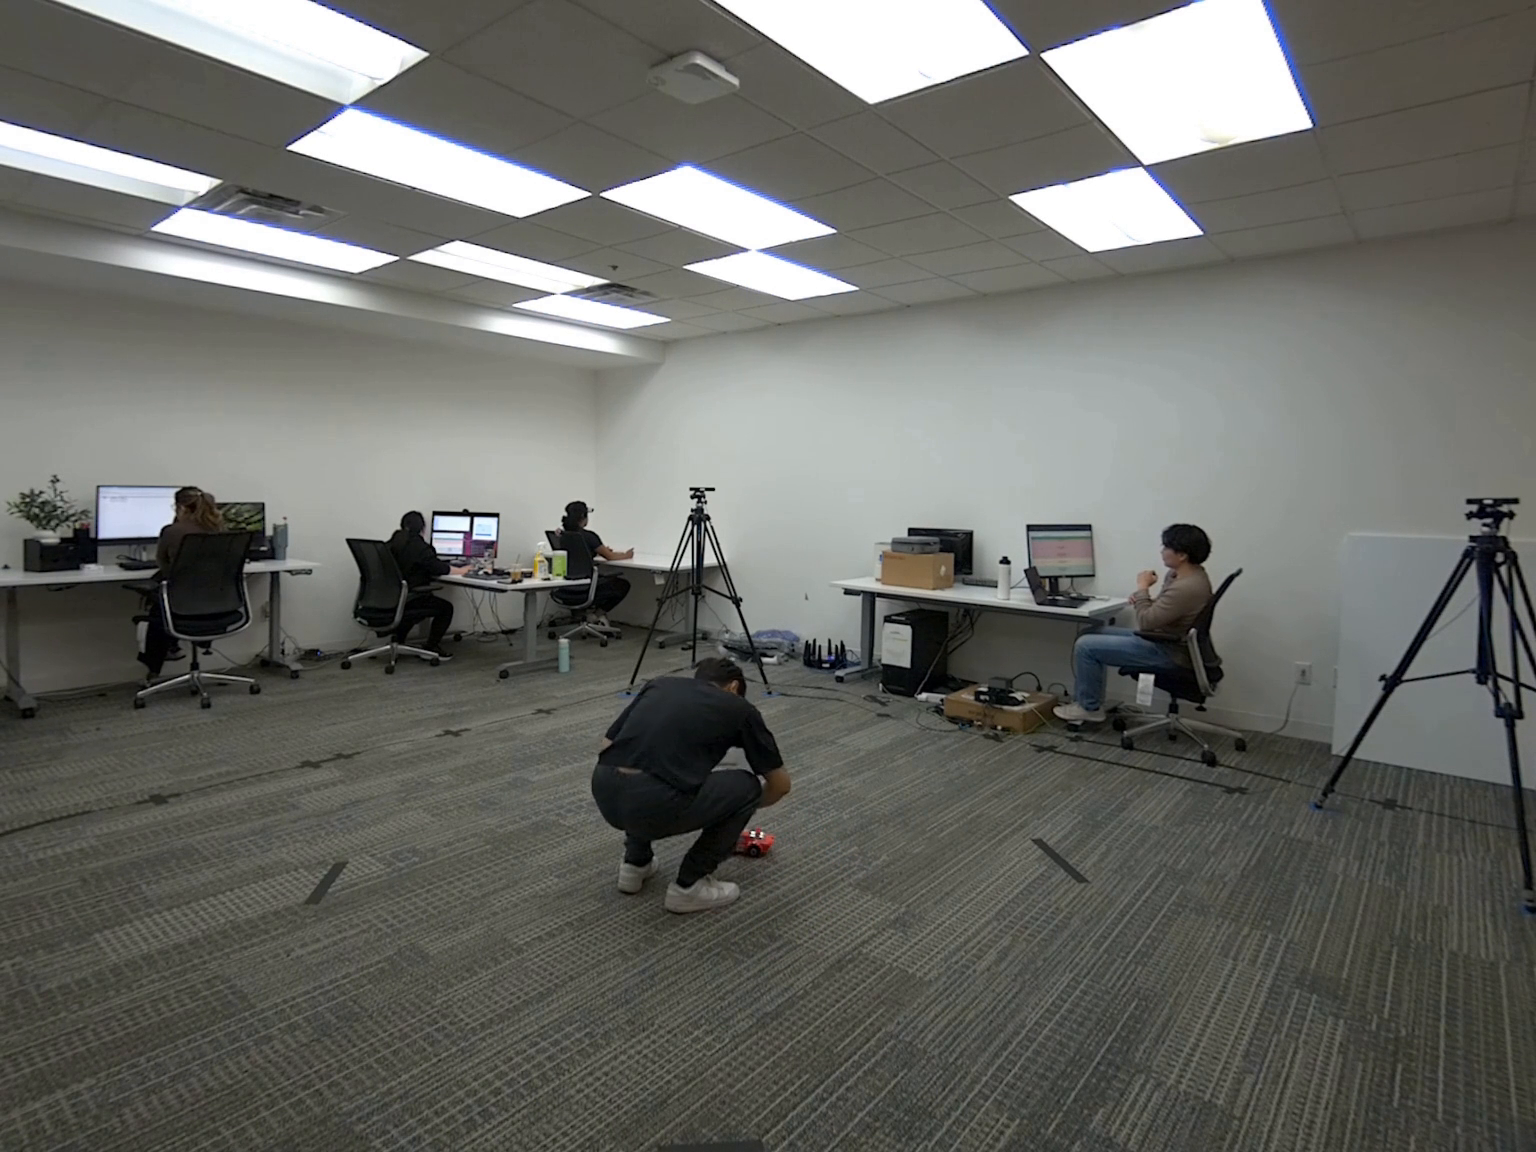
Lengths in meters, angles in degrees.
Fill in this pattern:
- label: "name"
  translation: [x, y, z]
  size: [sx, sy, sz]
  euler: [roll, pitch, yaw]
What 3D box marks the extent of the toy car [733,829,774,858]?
- label: "toy car"
  translation: [-0.110, 1.020, 3.270]
  size: [0.256, 0.083, 0.129]
  euler: [-8, 3, 8]
